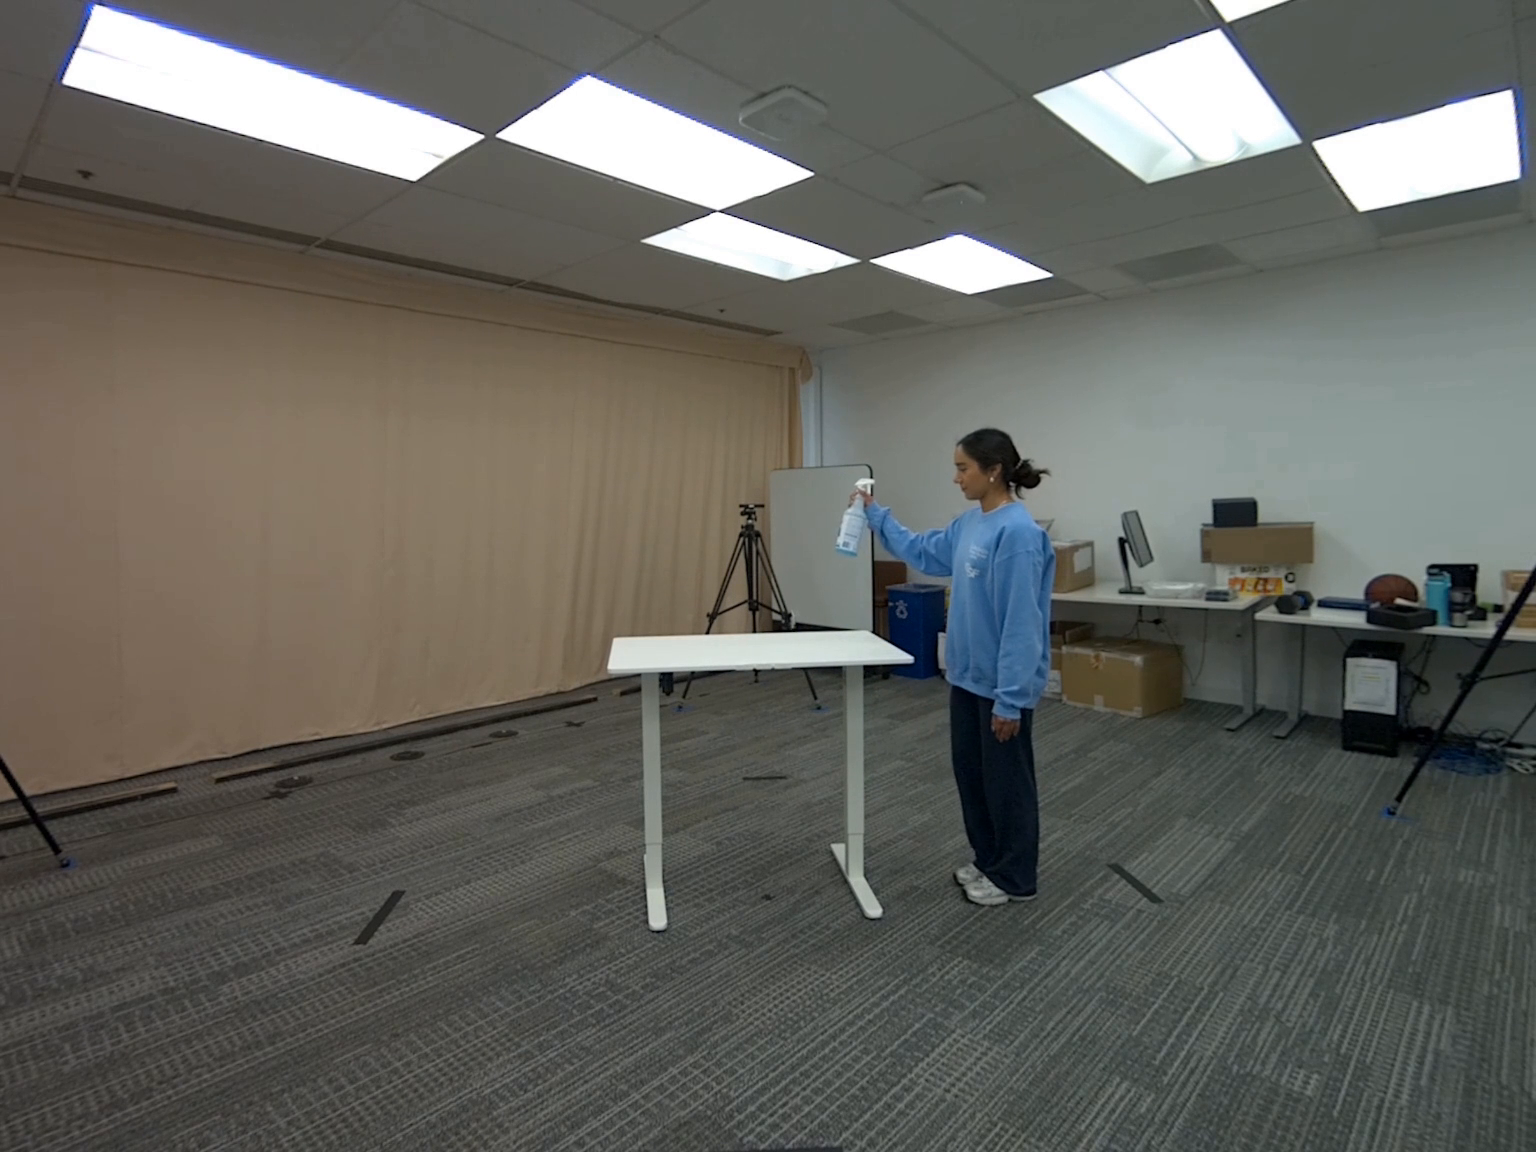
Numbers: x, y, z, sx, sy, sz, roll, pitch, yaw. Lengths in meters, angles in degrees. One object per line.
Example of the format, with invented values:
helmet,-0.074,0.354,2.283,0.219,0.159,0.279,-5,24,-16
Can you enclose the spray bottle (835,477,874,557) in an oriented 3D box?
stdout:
spray bottle,0.337,-0.222,3.204,0.086,0.297,0.091,13,2,-11
